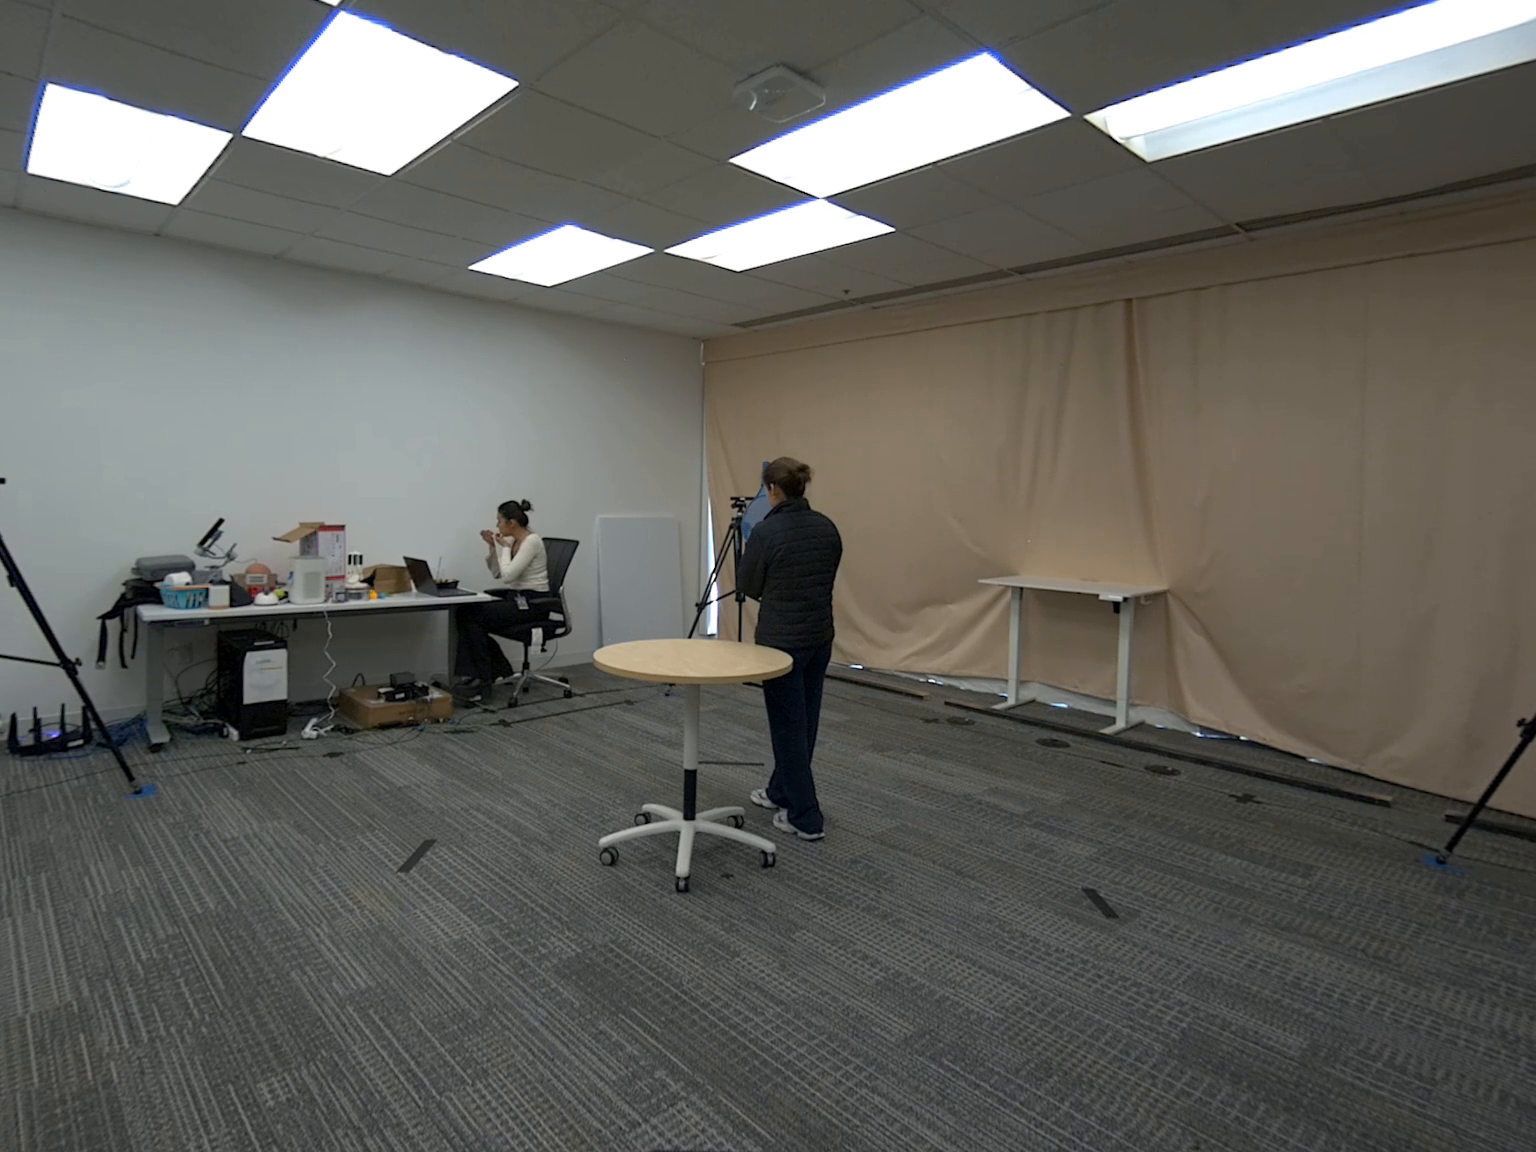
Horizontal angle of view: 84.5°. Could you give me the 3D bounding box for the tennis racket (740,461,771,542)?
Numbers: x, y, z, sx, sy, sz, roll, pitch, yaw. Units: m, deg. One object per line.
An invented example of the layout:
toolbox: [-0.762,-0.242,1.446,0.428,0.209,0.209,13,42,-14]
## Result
tennis racket: [-0.028,-0.337,3.928,0.217,0.439,0.031,-10,-24,28]
